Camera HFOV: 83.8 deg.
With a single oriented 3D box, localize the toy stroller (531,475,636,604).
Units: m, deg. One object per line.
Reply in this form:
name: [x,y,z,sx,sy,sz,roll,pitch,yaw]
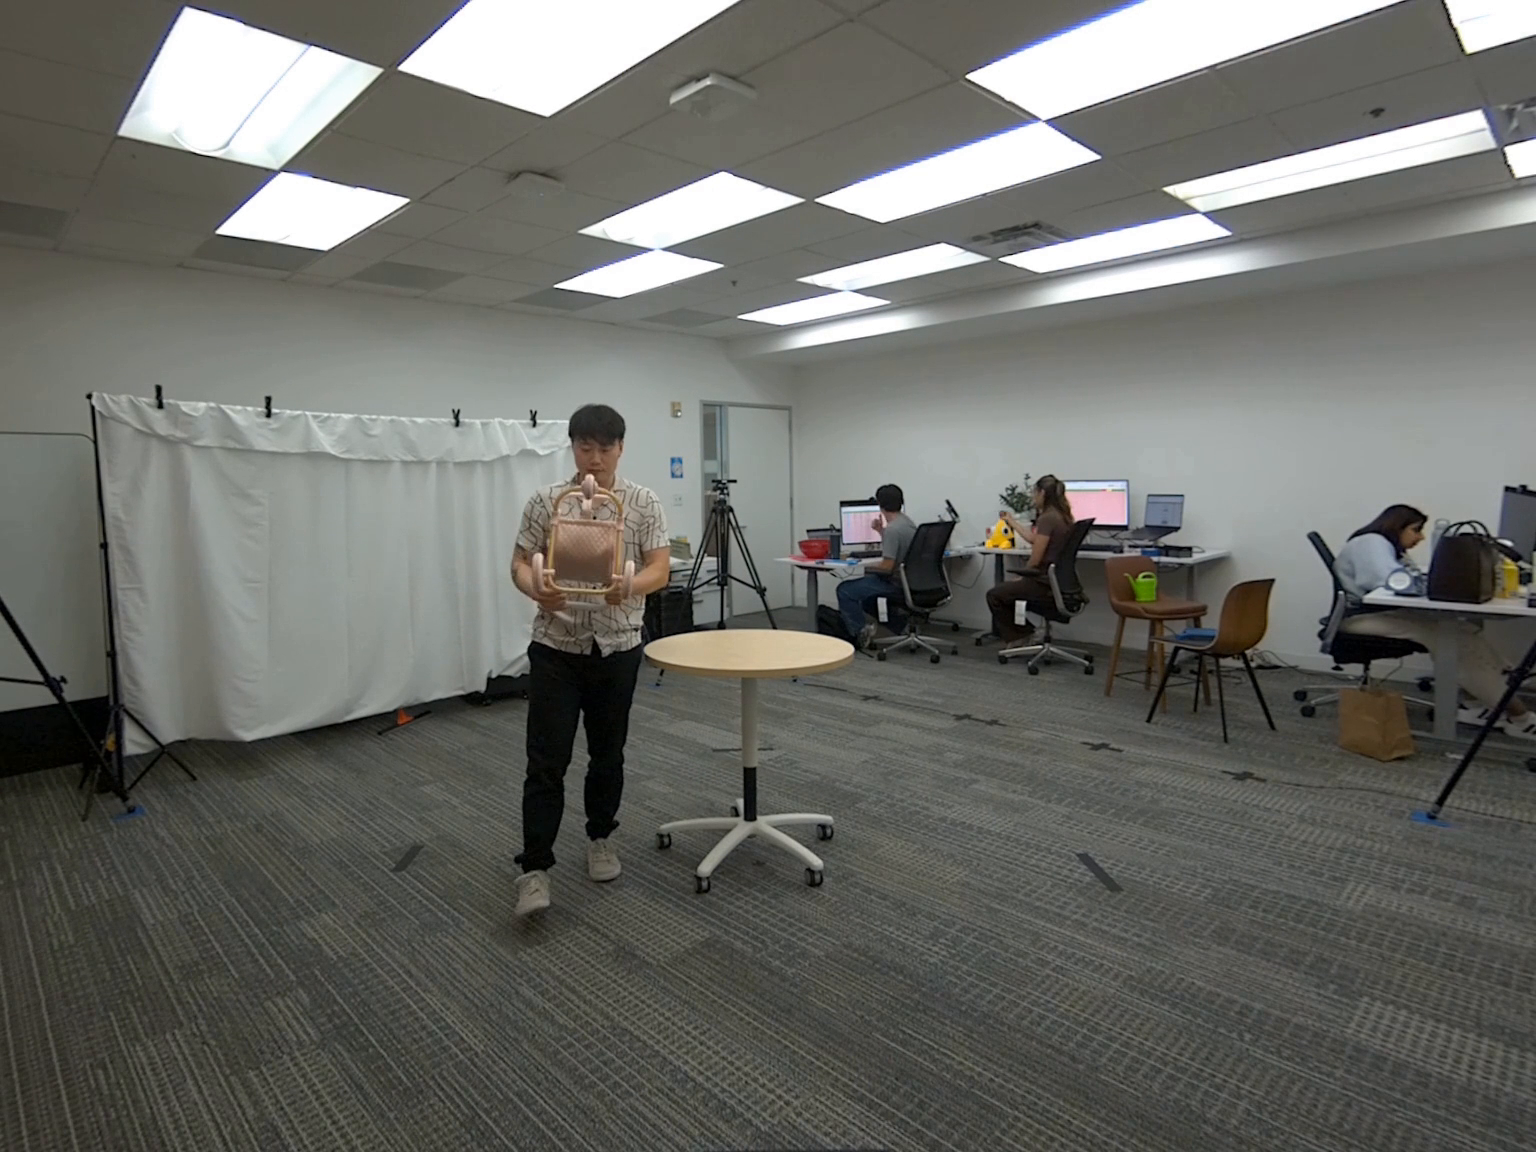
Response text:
toy stroller: [-0.554,-0.080,2.544,0.279,0.344,0.536,-1,-7,-10]
